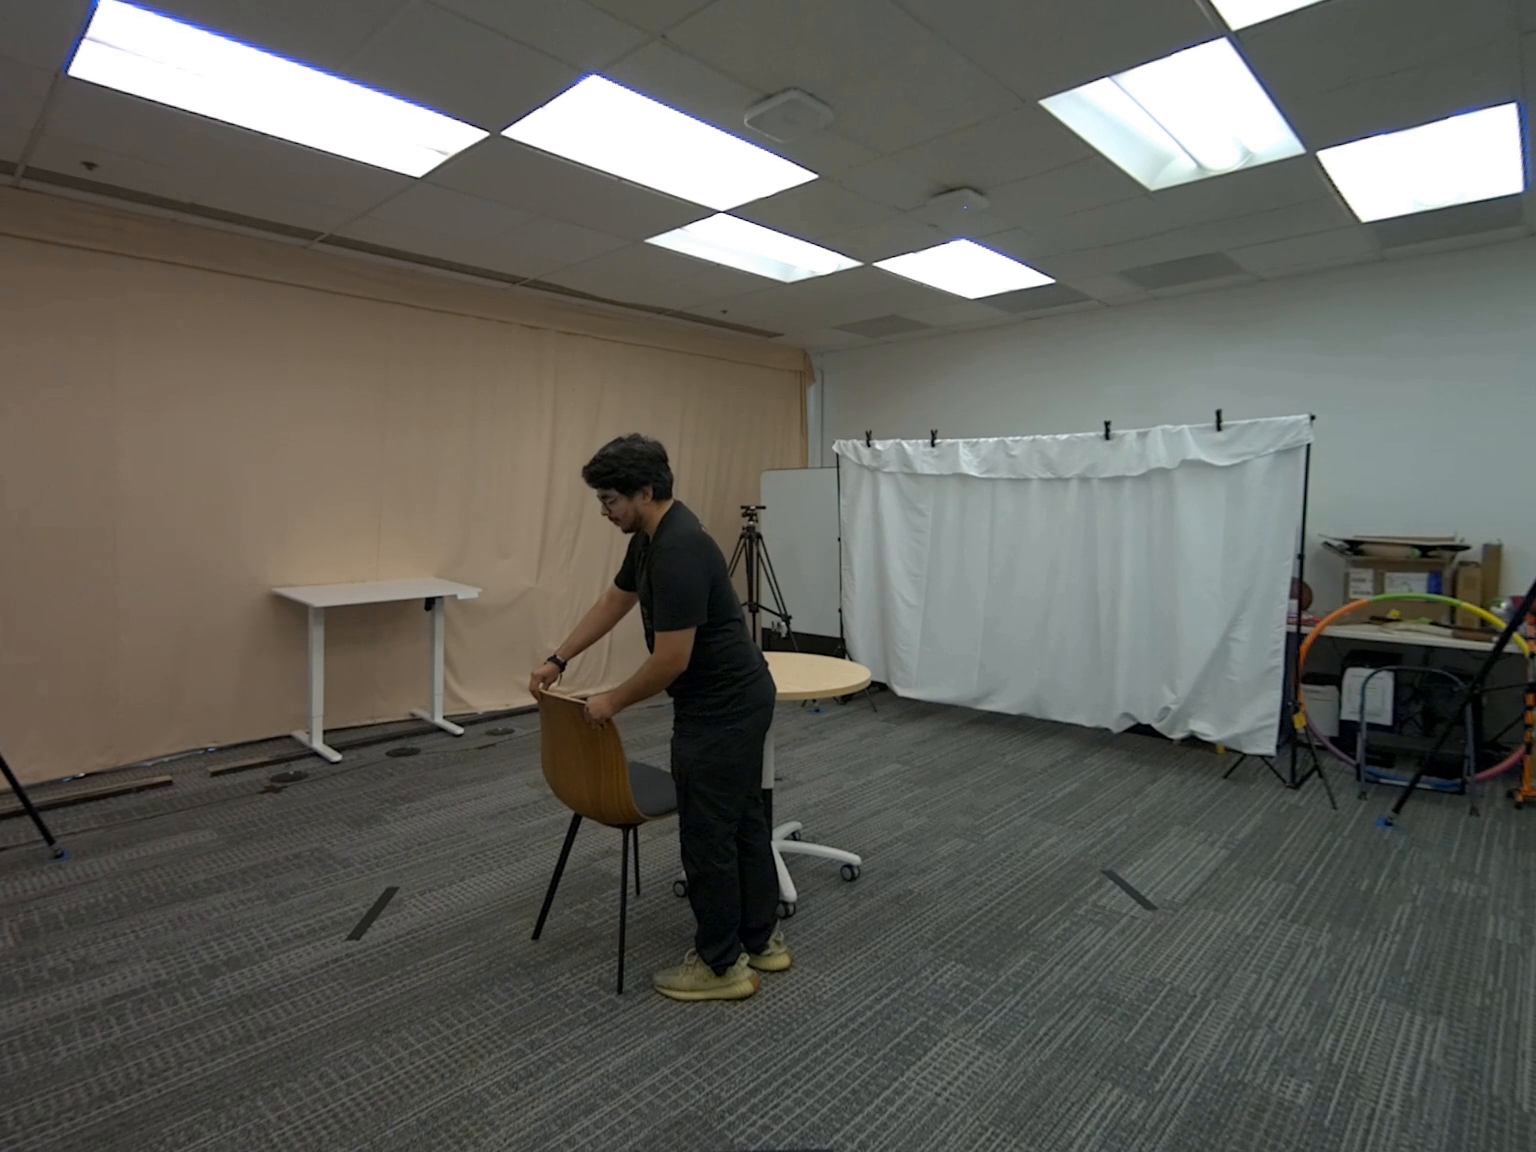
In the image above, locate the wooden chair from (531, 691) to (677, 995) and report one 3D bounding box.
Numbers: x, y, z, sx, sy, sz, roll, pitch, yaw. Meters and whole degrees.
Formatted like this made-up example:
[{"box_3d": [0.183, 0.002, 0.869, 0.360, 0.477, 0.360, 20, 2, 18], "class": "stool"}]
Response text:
[{"box_3d": [-0.447, 0.740, 2.695, 0.494, 0.873, 0.508, 2, 8, 42], "class": "wooden chair"}]
